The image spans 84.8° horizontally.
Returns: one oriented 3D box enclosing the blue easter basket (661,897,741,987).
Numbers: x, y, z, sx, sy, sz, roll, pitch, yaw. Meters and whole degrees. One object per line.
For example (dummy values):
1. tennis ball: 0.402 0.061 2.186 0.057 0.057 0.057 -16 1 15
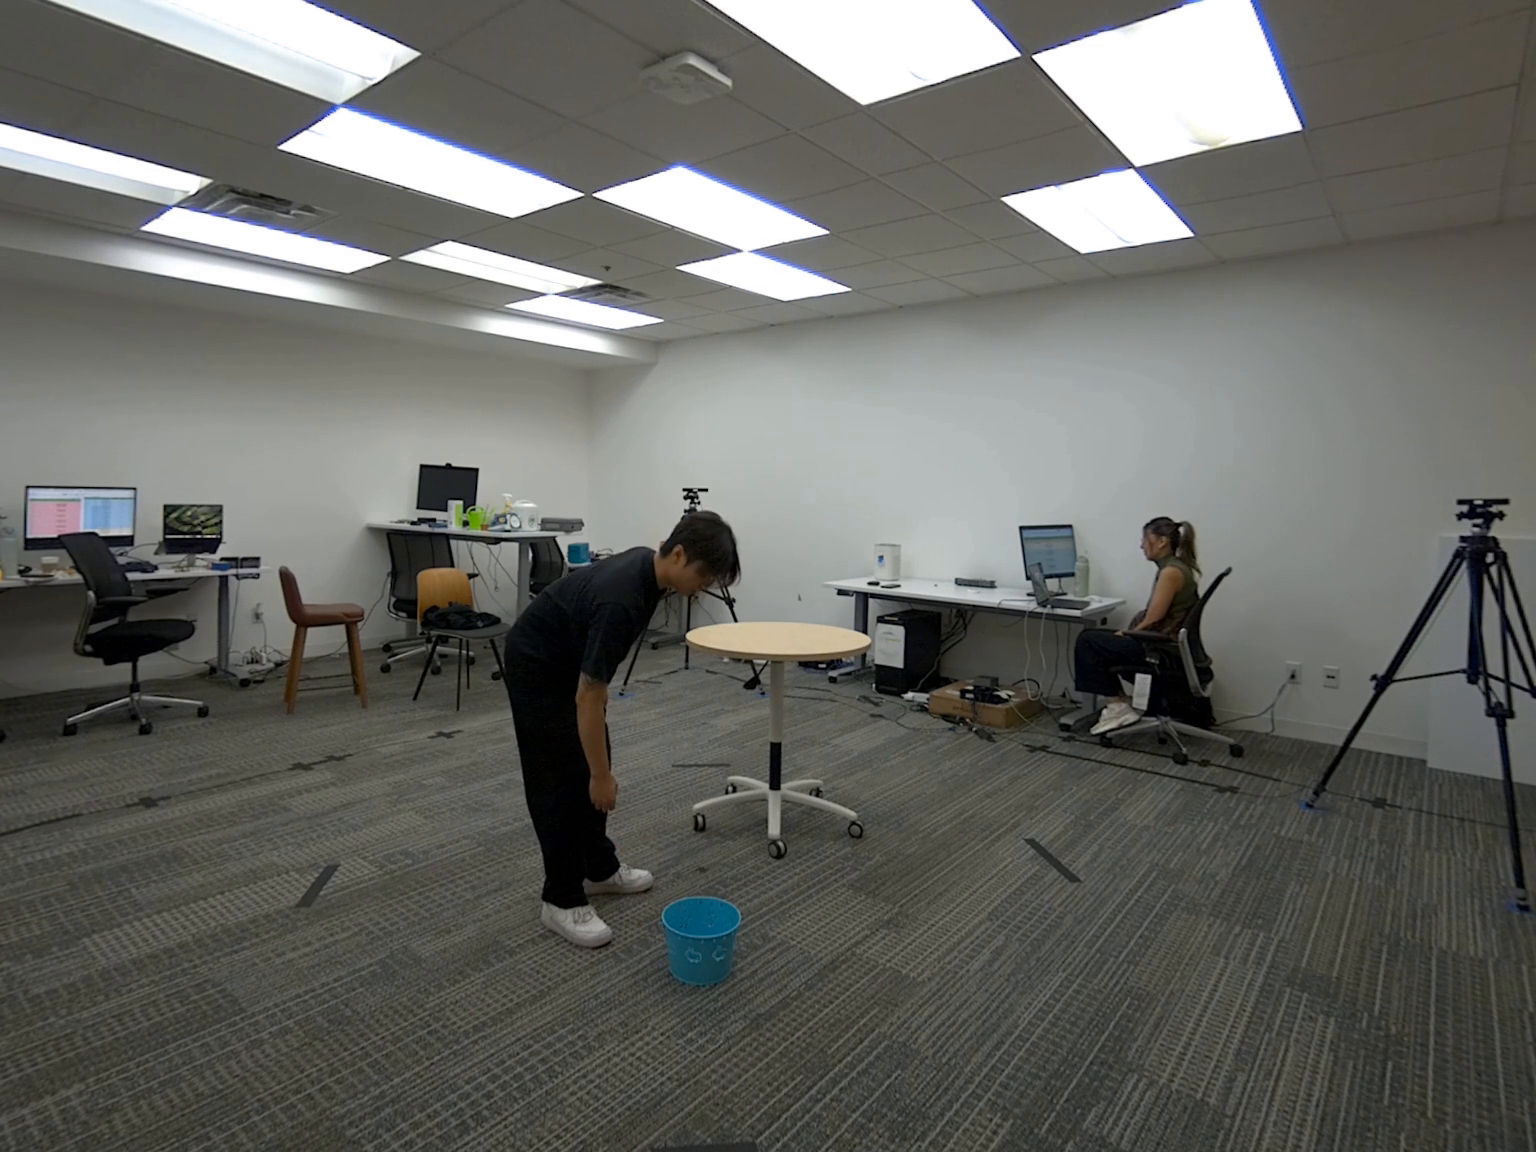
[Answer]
1. blue easter basket: -0.198 1.052 2.468 0.243 0.155 0.245 0 5 -2
